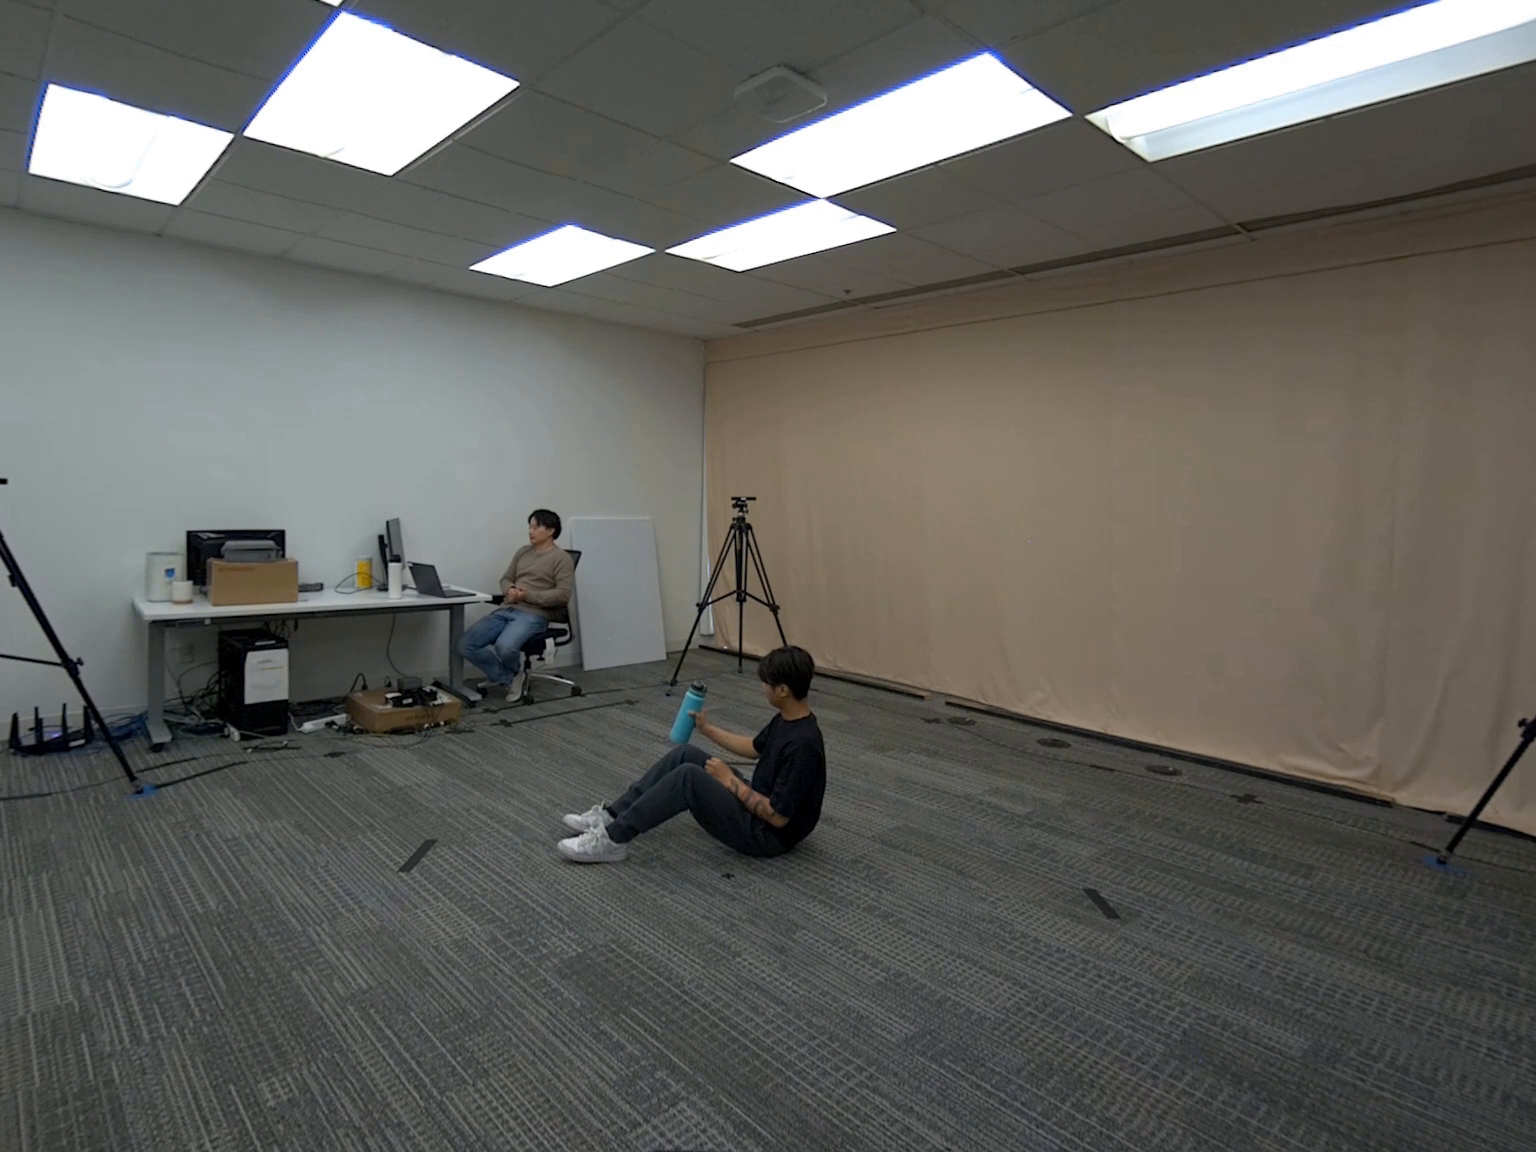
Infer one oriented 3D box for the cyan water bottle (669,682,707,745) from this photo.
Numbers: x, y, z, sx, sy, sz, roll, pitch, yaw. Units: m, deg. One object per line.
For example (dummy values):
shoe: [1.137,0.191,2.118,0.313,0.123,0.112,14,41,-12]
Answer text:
cyan water bottle: [-0.357,0.600,3.745,0.092,0.283,0.092,19,3,-3]
